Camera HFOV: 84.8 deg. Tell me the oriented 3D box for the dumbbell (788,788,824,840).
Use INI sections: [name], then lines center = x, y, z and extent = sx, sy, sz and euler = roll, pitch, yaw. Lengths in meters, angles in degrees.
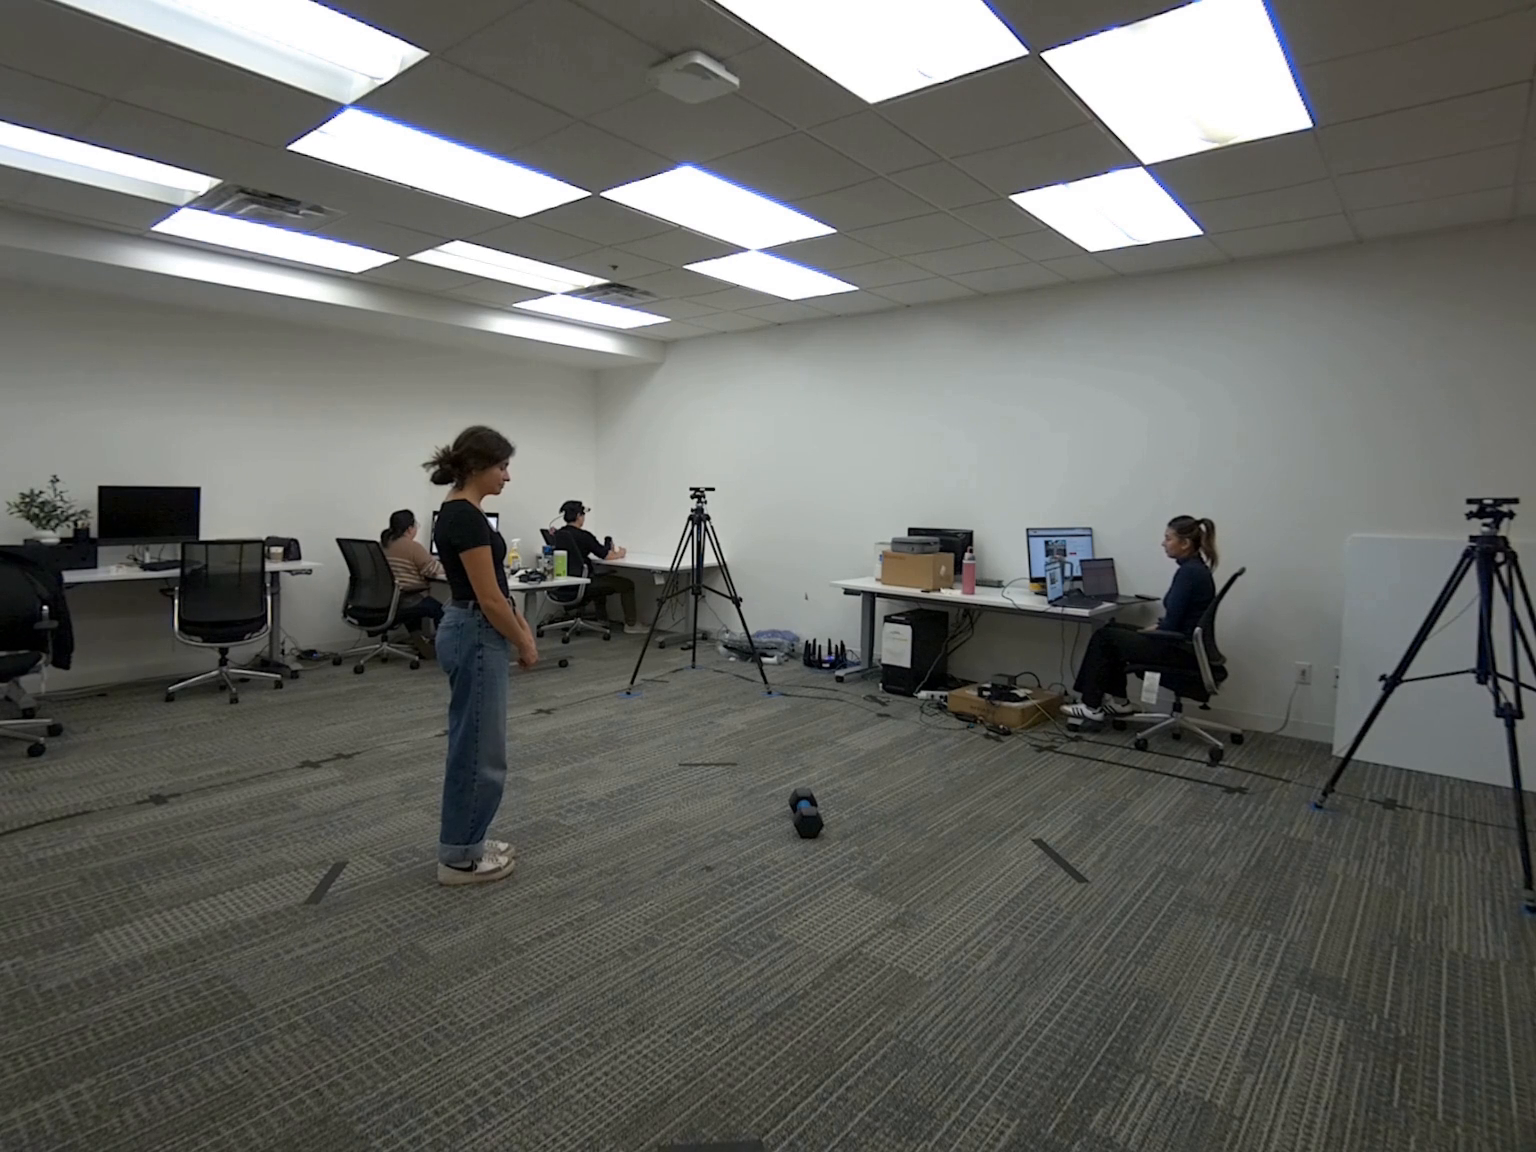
[dumbbell]
center = 0.152, 0.981, 3.536
extent = 0.108, 0.123, 0.296
euler = 30, 3, -7
